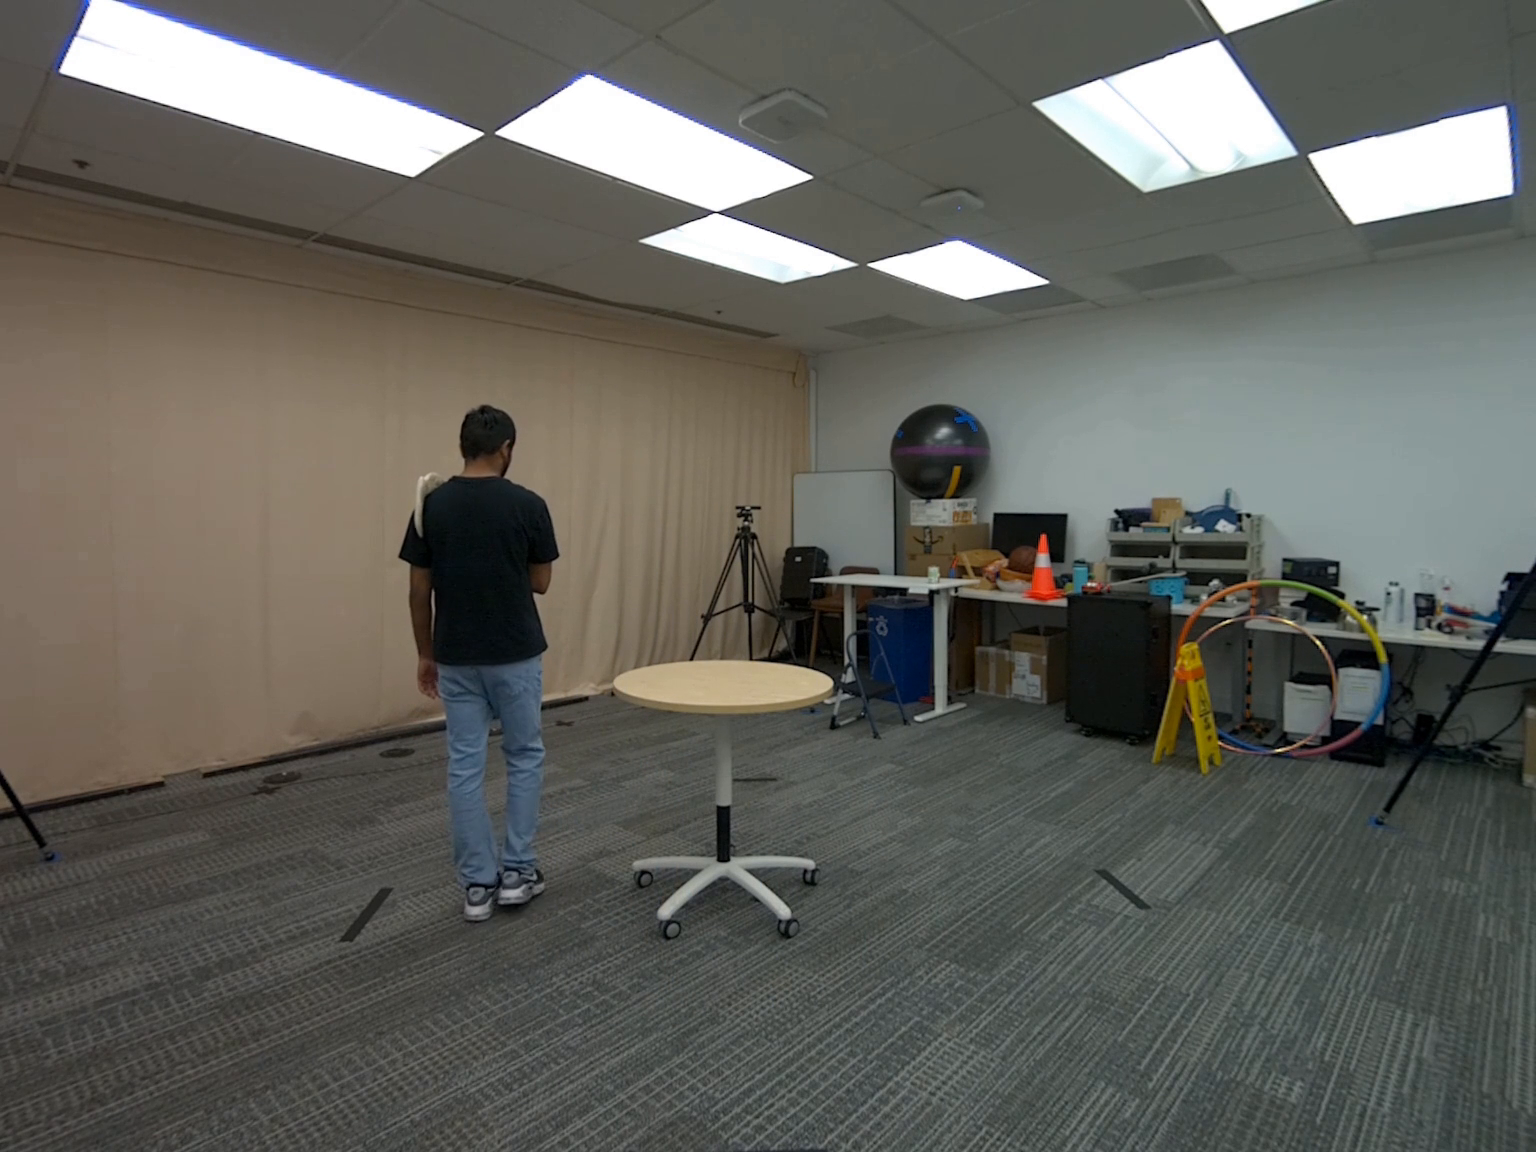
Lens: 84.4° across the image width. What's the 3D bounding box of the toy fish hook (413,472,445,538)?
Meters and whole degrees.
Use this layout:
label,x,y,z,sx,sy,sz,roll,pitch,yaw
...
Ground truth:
label,x,y,z,sx,sy,sz,roll,pitch,yaw
toy fish hook,-1.160,-0.102,2.887,0.049,0.502,0.224,2,14,9
